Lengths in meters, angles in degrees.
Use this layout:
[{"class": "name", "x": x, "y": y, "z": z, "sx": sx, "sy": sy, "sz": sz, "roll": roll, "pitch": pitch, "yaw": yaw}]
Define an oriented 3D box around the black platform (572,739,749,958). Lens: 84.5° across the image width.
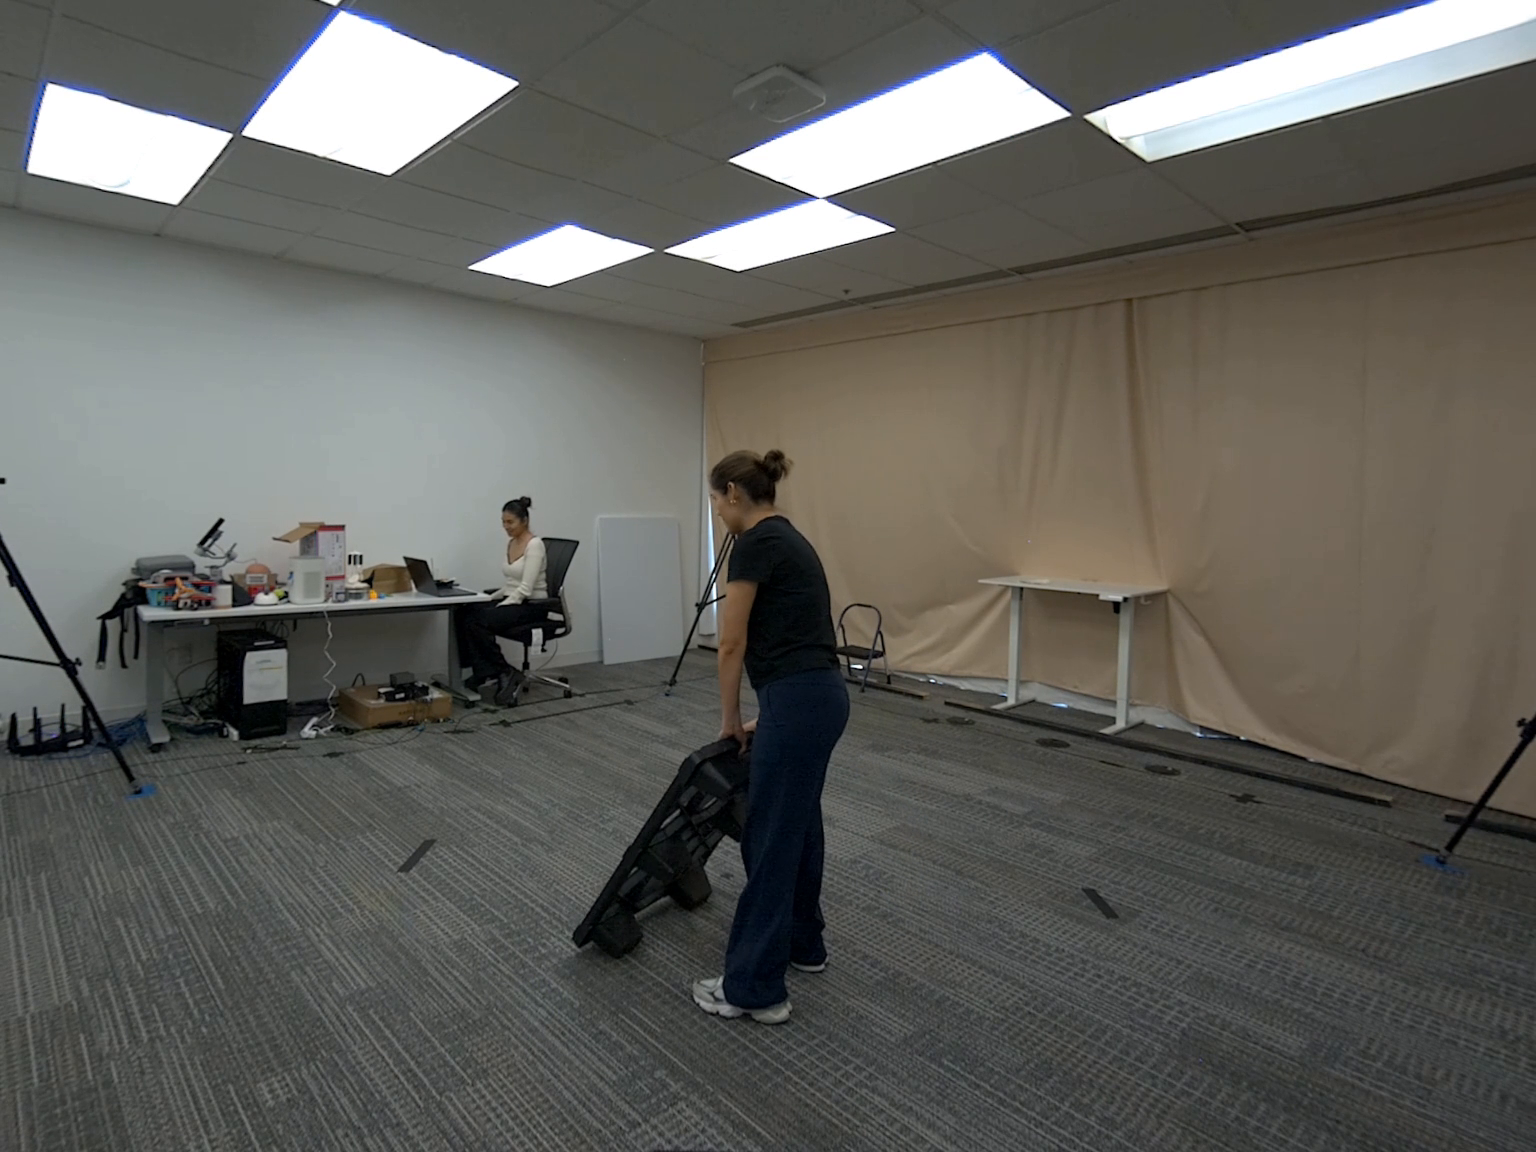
[{"class": "black platform", "x": -0.205, "y": 0.814, "z": 2.606, "sx": 0.147, "sy": 0.802, "sz": 0.592, "roll": 41, "pitch": 23, "yaw": 24}]
